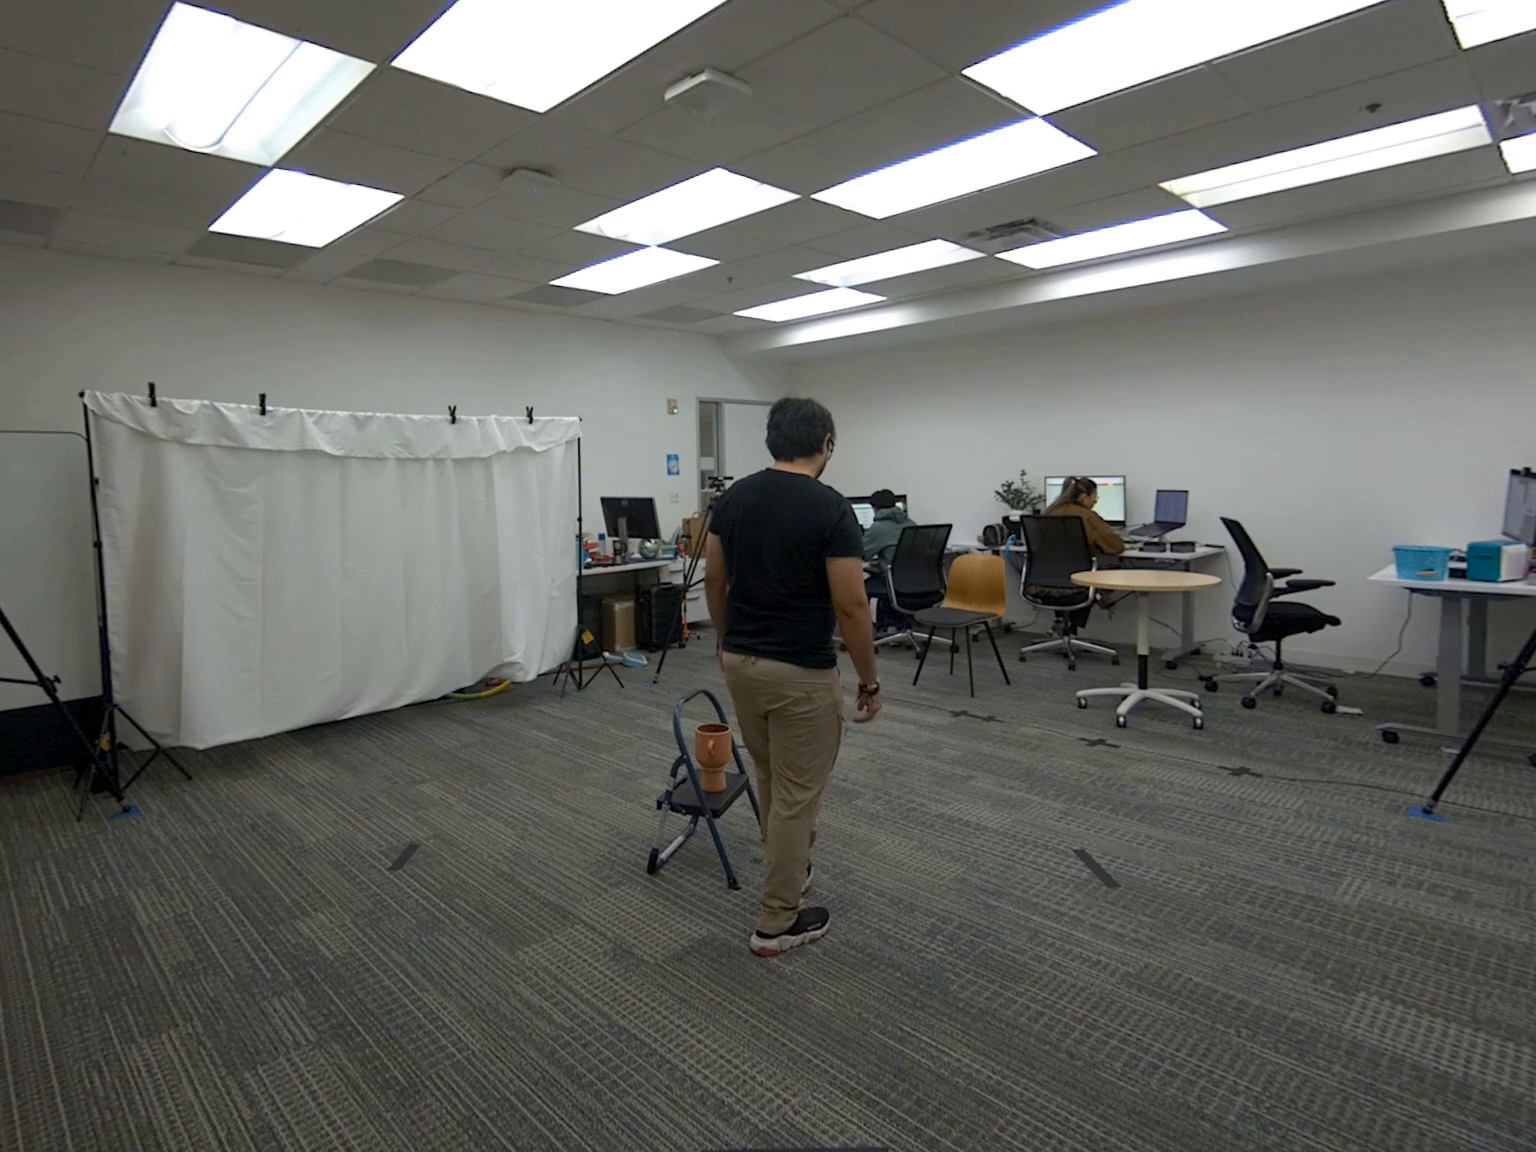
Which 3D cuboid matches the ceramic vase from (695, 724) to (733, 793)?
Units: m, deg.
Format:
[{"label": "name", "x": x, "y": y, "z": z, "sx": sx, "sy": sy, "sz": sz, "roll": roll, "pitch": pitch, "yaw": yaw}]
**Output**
[{"label": "ceramic vase", "x": -0.195, "y": 0.667, "z": 3.123, "sx": 0.139, "sy": 0.219, "sz": 0.154, "roll": 5, "pitch": 7, "yaw": 43}]
